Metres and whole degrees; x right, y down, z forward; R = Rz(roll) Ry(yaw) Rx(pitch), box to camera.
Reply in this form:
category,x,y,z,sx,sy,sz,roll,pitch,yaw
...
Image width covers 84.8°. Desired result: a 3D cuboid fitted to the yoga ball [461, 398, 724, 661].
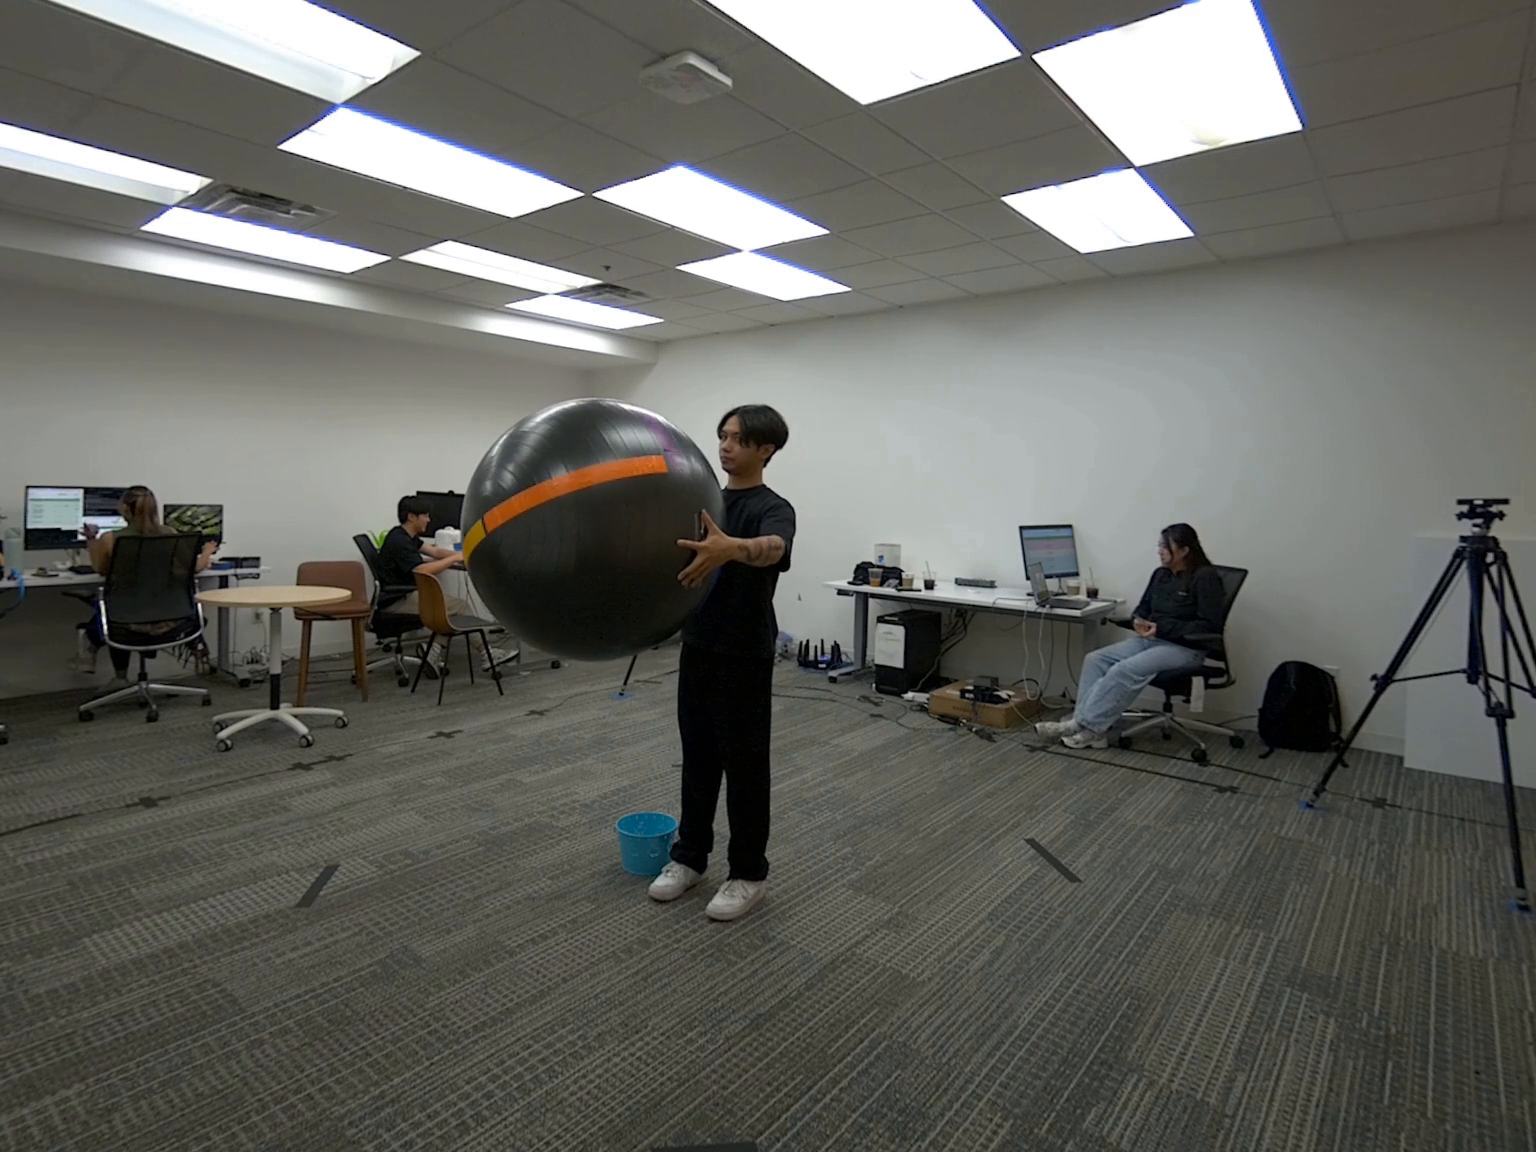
category,x,y,z,sx,sy,sz,roll,pitch,yaw
yoga ball,-0.513,-0.132,2.468,0.757,0.756,0.761,1,4,-2
